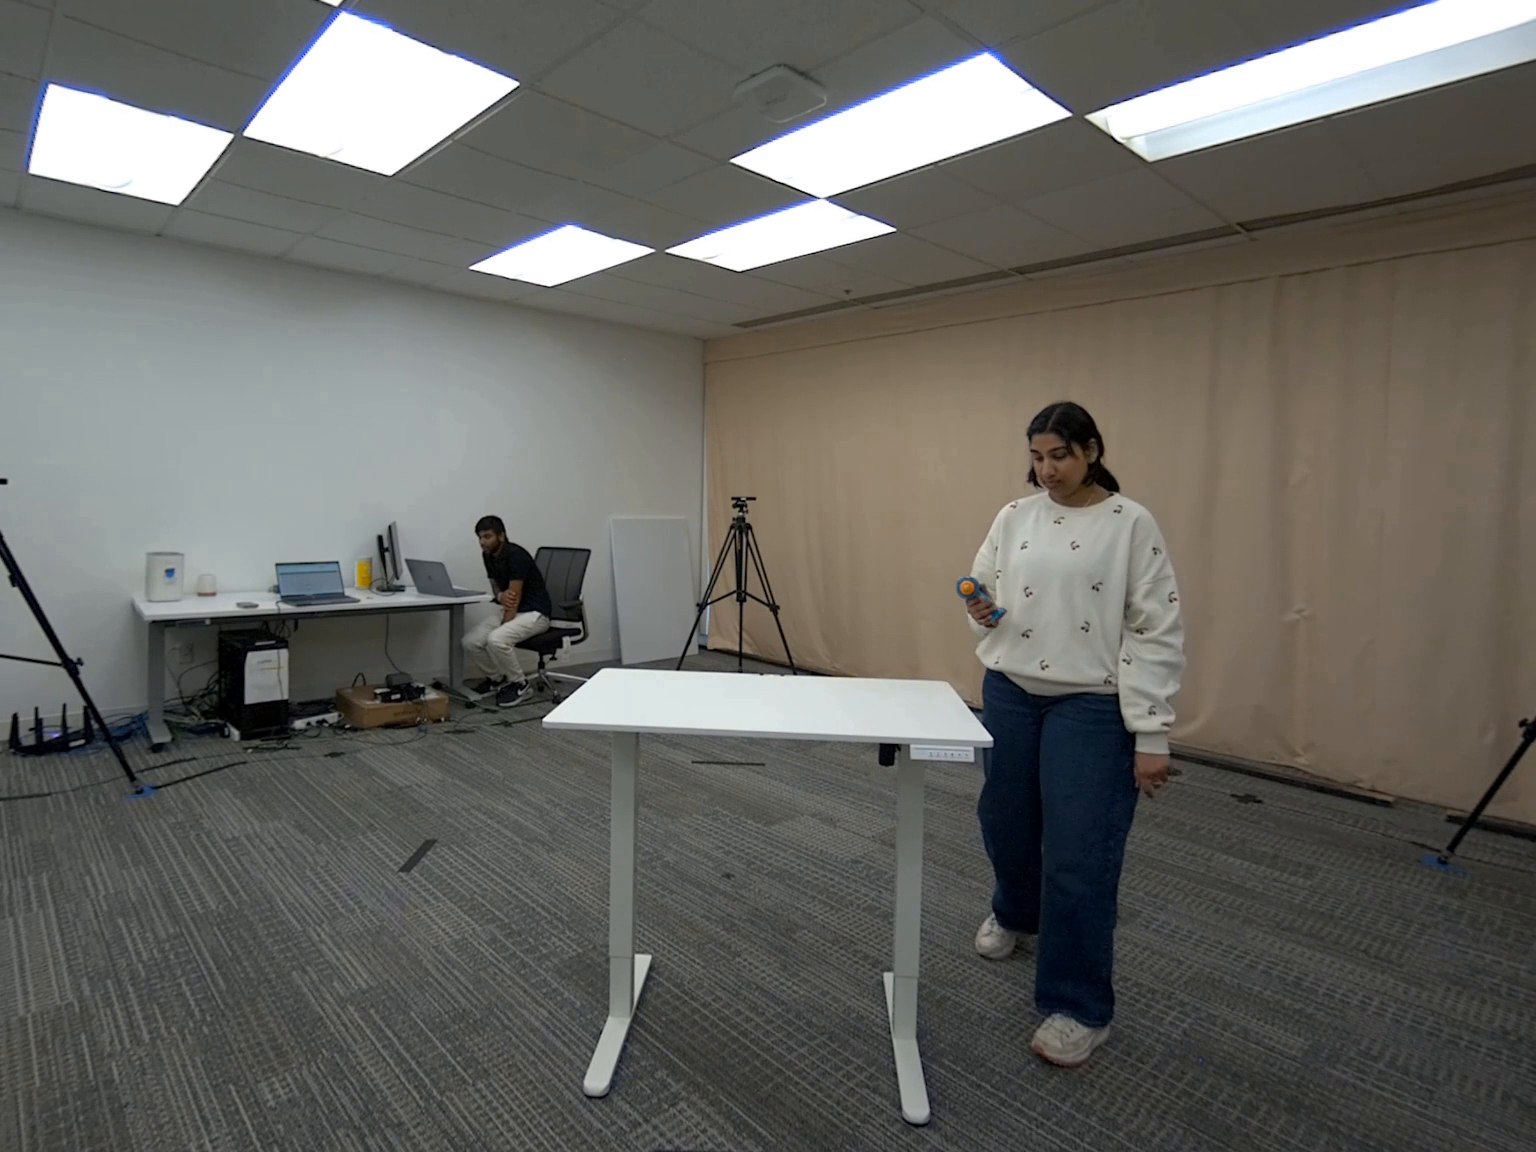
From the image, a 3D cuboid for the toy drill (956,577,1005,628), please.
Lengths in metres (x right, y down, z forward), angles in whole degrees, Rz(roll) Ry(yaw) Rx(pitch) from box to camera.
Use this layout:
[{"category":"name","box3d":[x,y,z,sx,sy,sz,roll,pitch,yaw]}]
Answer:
[{"category":"toy drill","box3d":[0.537,0.056,2.202,0.148,0.061,0.167,43,7,11]}]
